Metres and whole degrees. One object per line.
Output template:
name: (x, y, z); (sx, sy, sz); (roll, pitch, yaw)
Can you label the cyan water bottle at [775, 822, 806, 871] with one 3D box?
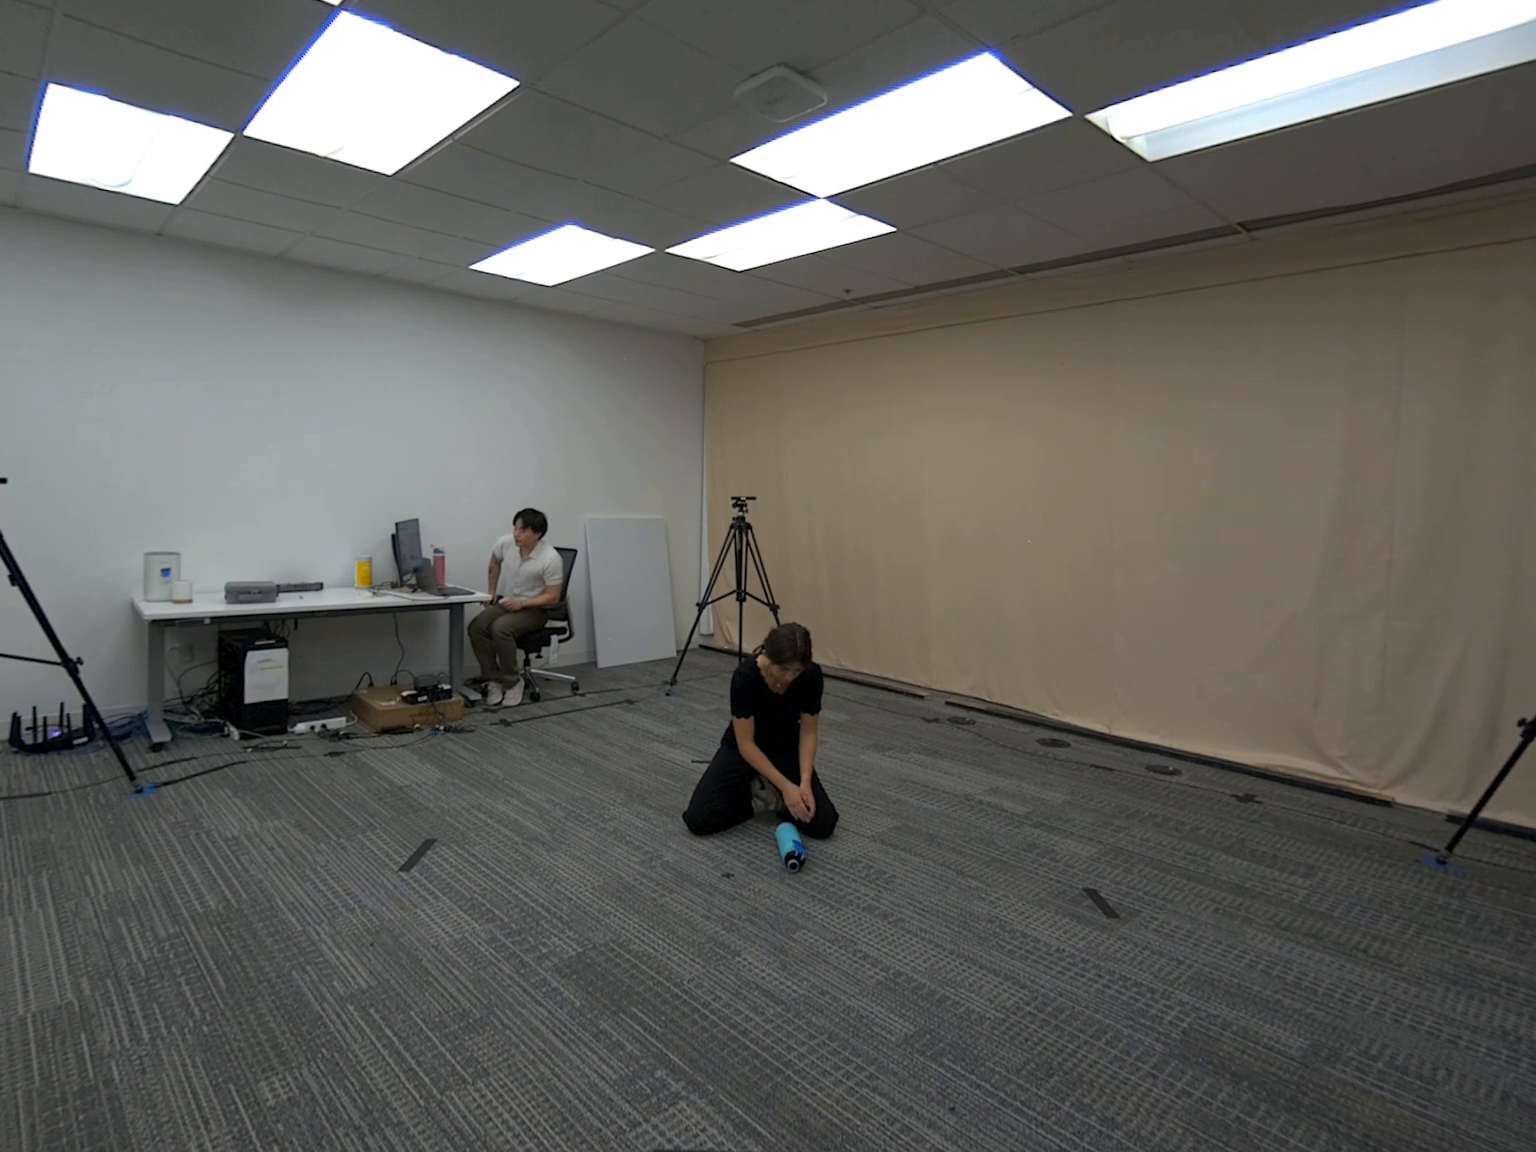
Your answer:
cyan water bottle: (0.073, 1.053, 3.259); (0.092, 0.092, 0.285); (1, 4, -6)
